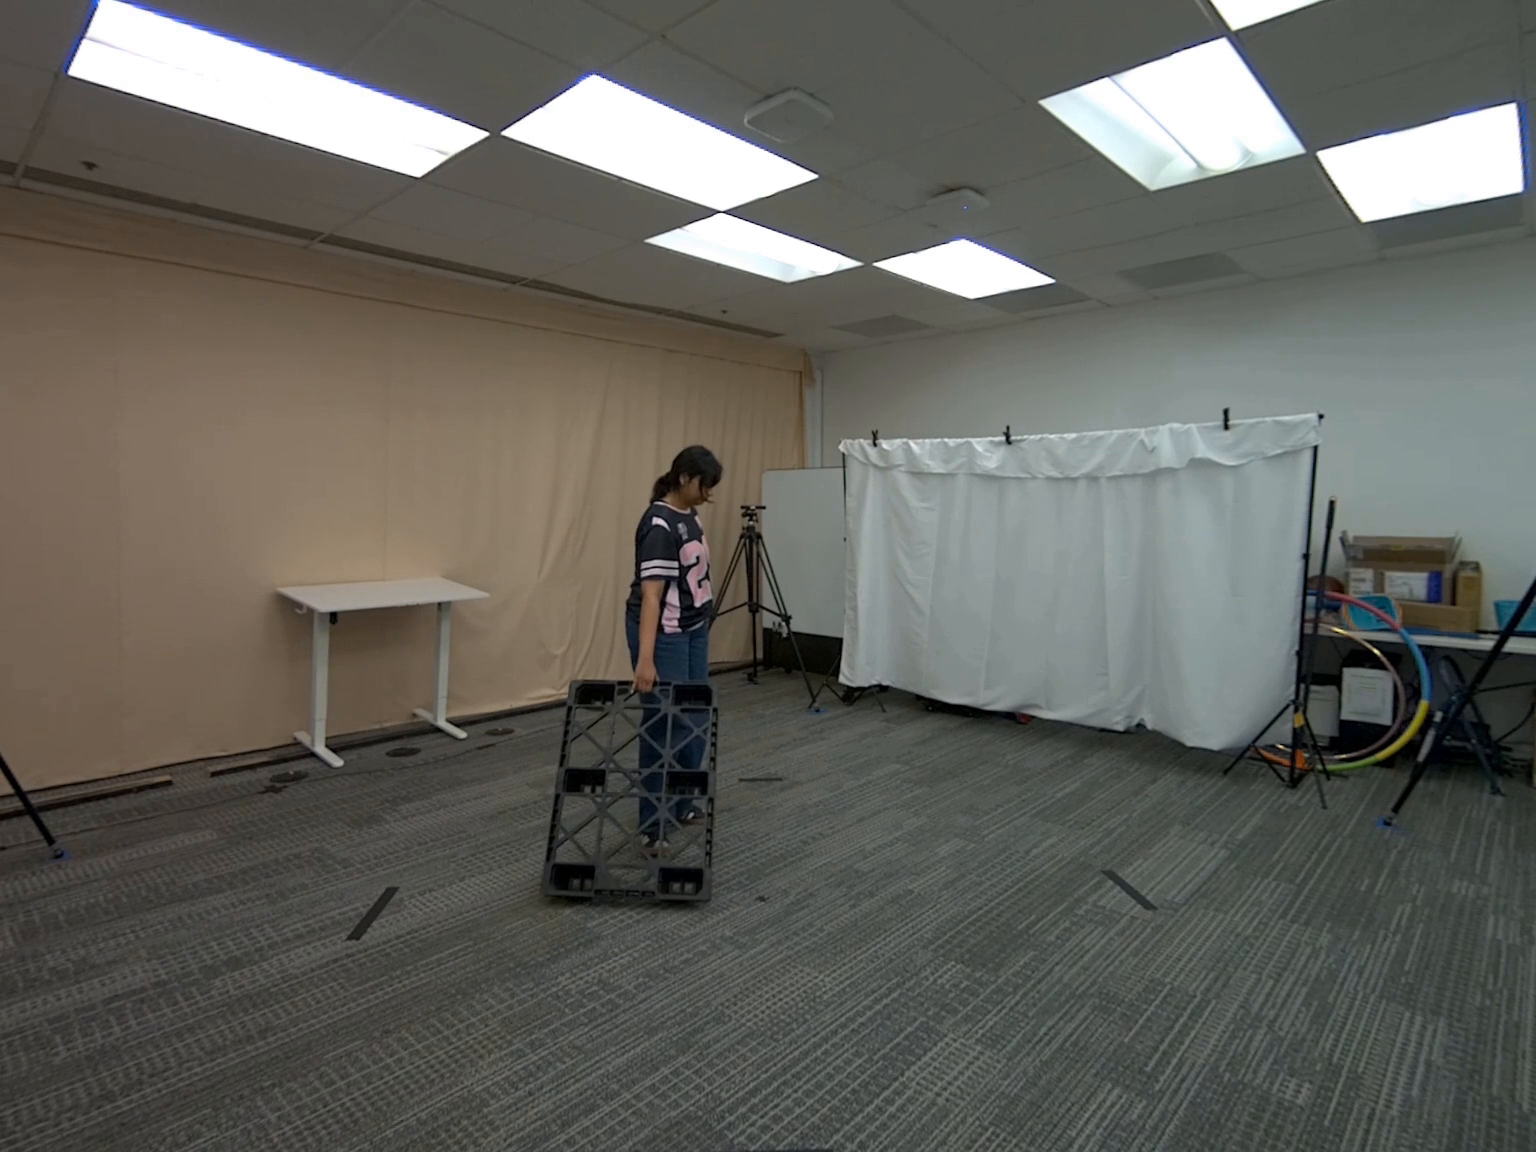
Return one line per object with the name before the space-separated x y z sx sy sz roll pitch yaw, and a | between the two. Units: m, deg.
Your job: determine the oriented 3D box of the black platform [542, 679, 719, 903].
black platform | -0.492 0.794 3.157 0.609 0.818 0.140 -2 -29 5
